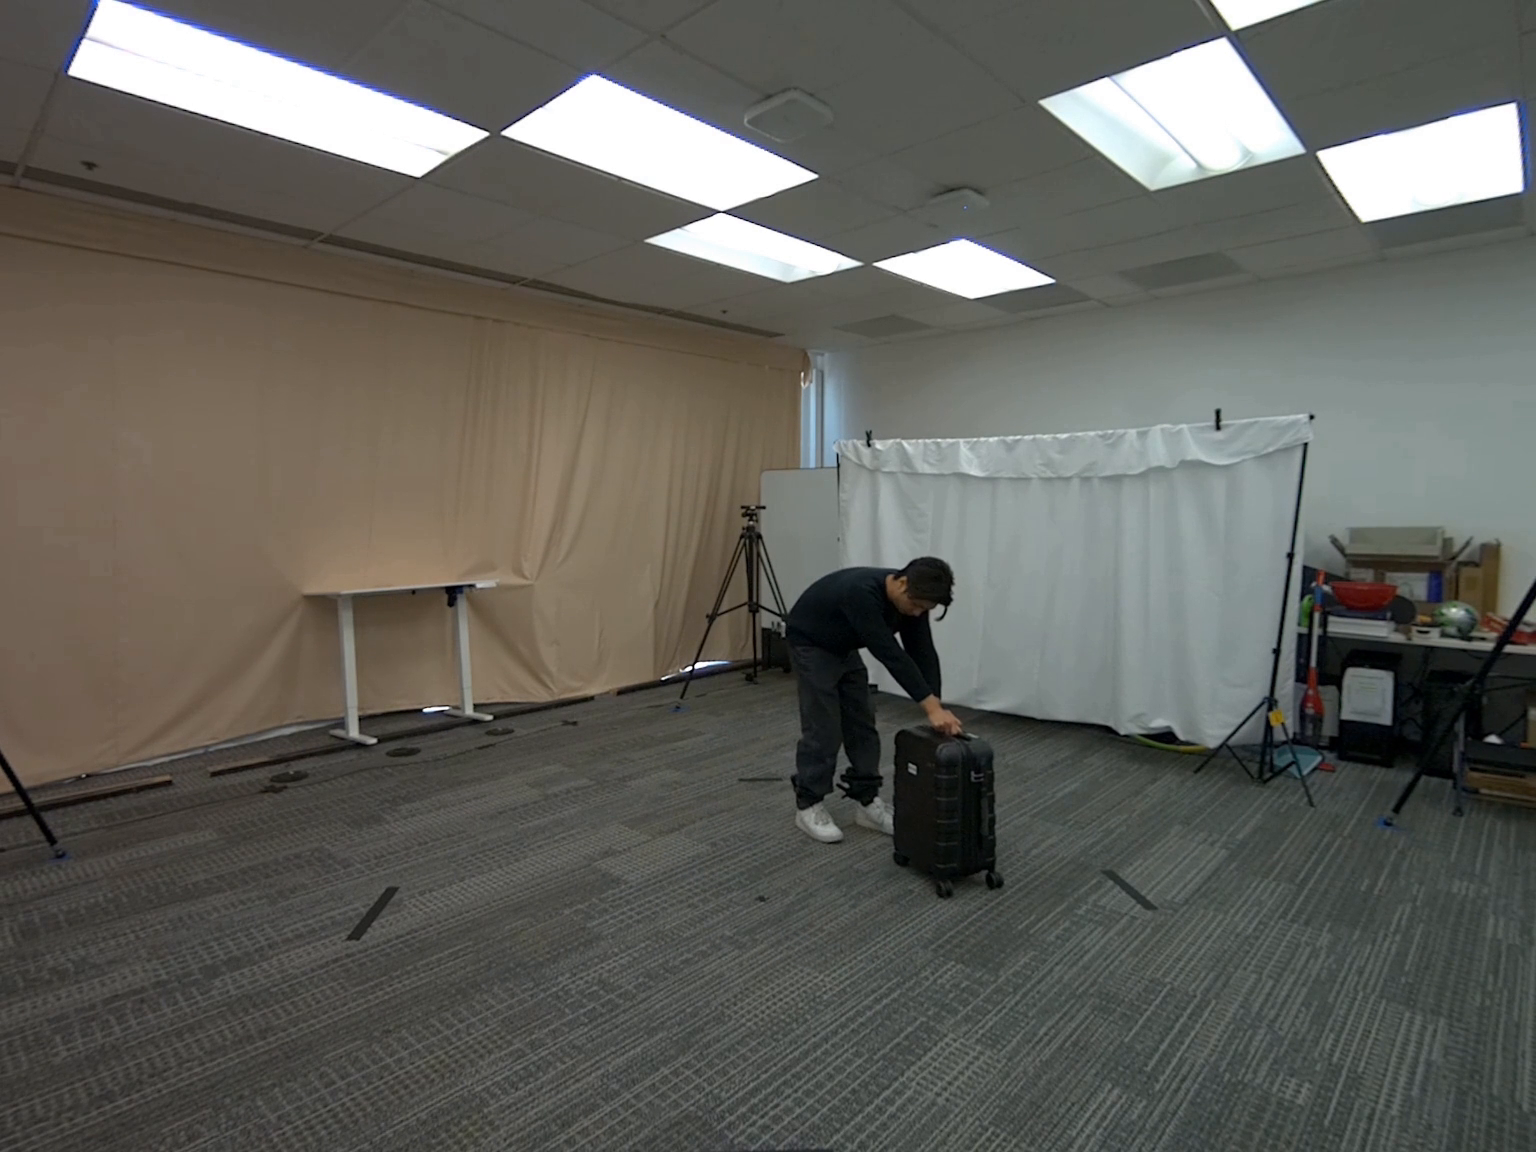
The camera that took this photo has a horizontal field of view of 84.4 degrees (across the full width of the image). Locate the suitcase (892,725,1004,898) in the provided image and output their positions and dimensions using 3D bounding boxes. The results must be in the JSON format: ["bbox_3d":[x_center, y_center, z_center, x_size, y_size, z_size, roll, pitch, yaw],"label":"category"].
[{"bbox_3d":[0.669,0.852,3.172,0.243,0.549,0.383,-2,2,-21],"label":"suitcase"}]
